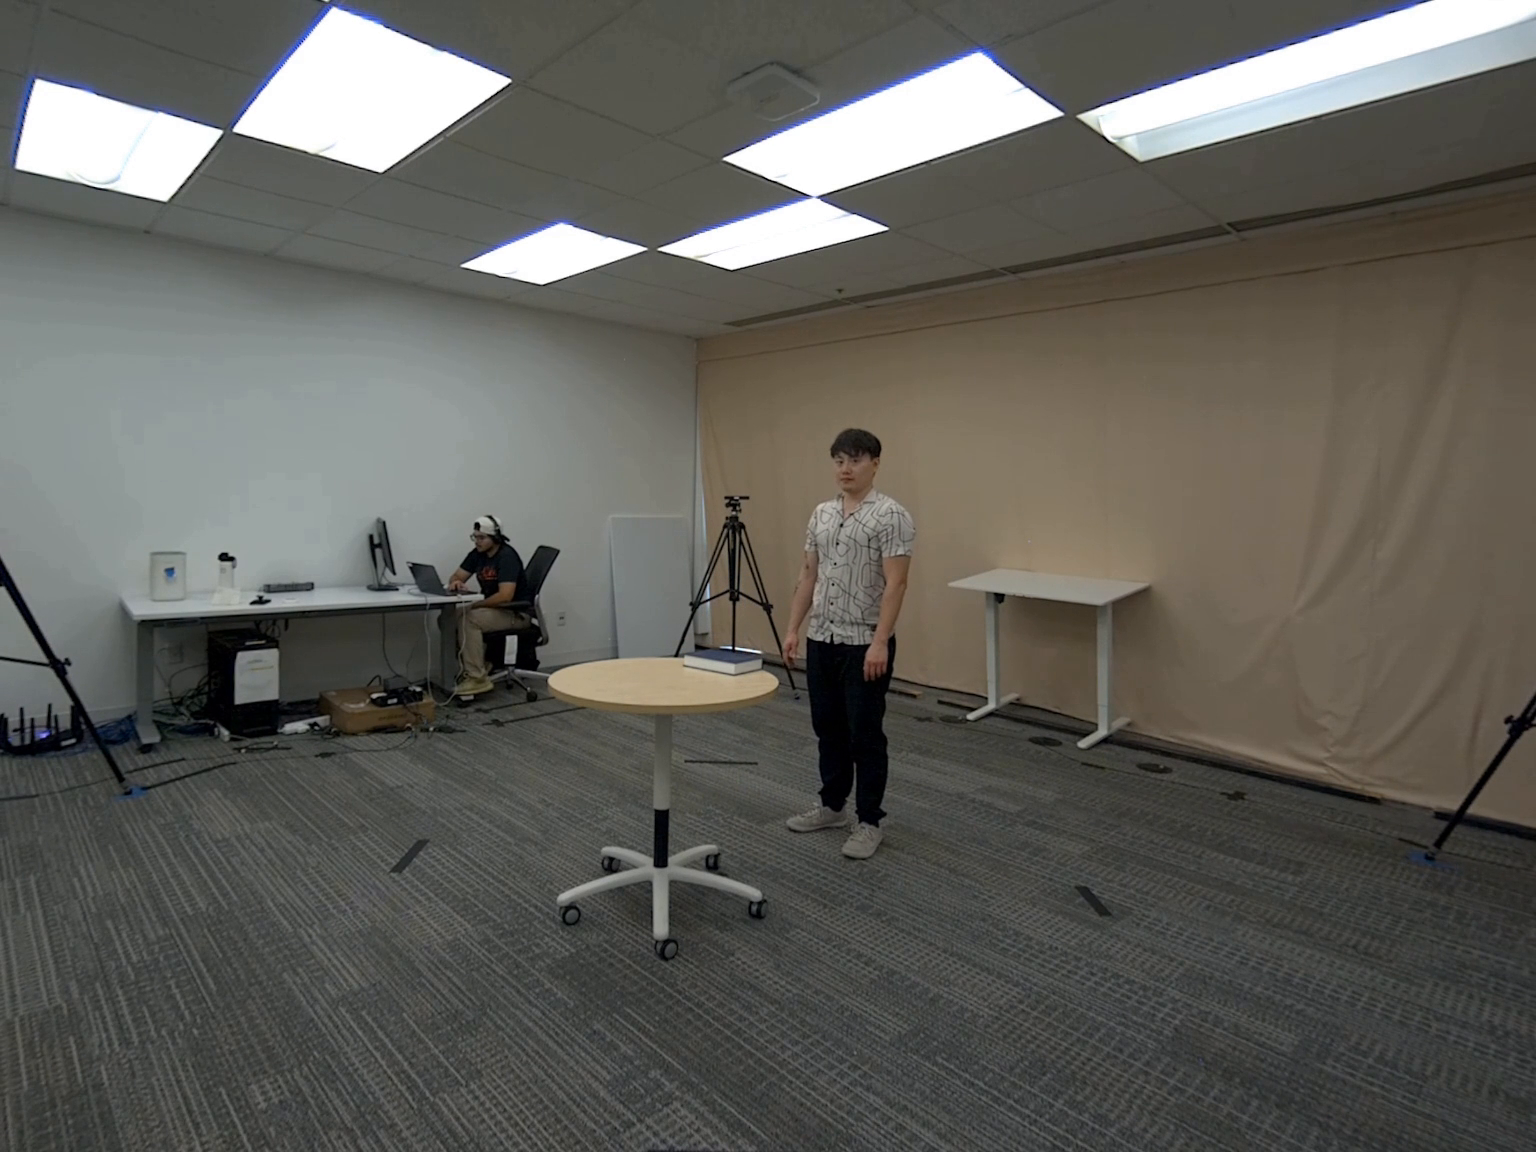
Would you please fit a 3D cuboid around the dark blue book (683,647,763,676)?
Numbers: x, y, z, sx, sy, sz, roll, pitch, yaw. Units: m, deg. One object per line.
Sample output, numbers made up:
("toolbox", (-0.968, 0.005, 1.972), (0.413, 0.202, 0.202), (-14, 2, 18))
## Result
("dark blue book", (-0.169, 0.310, 3.031), (0.251, 0.045, 0.160), (5, 6, 38))
